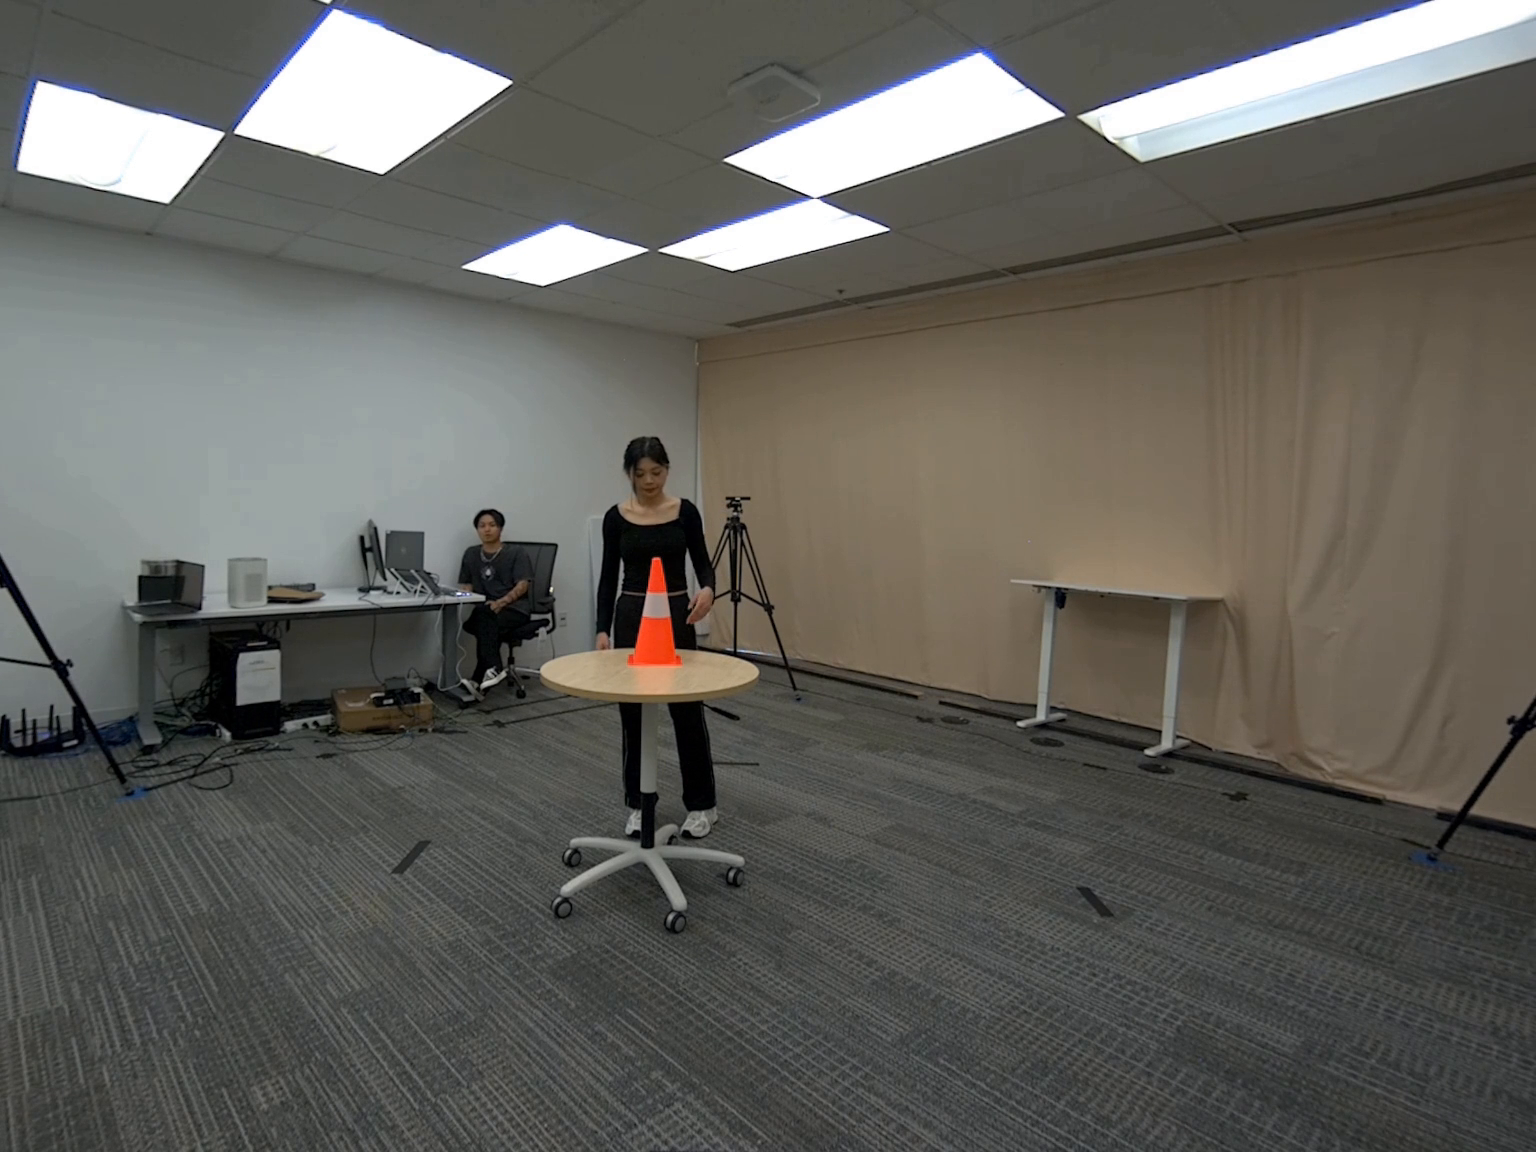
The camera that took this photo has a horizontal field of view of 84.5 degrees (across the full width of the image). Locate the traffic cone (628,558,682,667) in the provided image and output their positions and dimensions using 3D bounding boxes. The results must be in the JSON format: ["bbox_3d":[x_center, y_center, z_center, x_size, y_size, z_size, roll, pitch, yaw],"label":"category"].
[{"bbox_3d":[-0.432,0.127,3.111,0.203,0.382,0.205,0,4,-9],"label":"traffic cone"}]
